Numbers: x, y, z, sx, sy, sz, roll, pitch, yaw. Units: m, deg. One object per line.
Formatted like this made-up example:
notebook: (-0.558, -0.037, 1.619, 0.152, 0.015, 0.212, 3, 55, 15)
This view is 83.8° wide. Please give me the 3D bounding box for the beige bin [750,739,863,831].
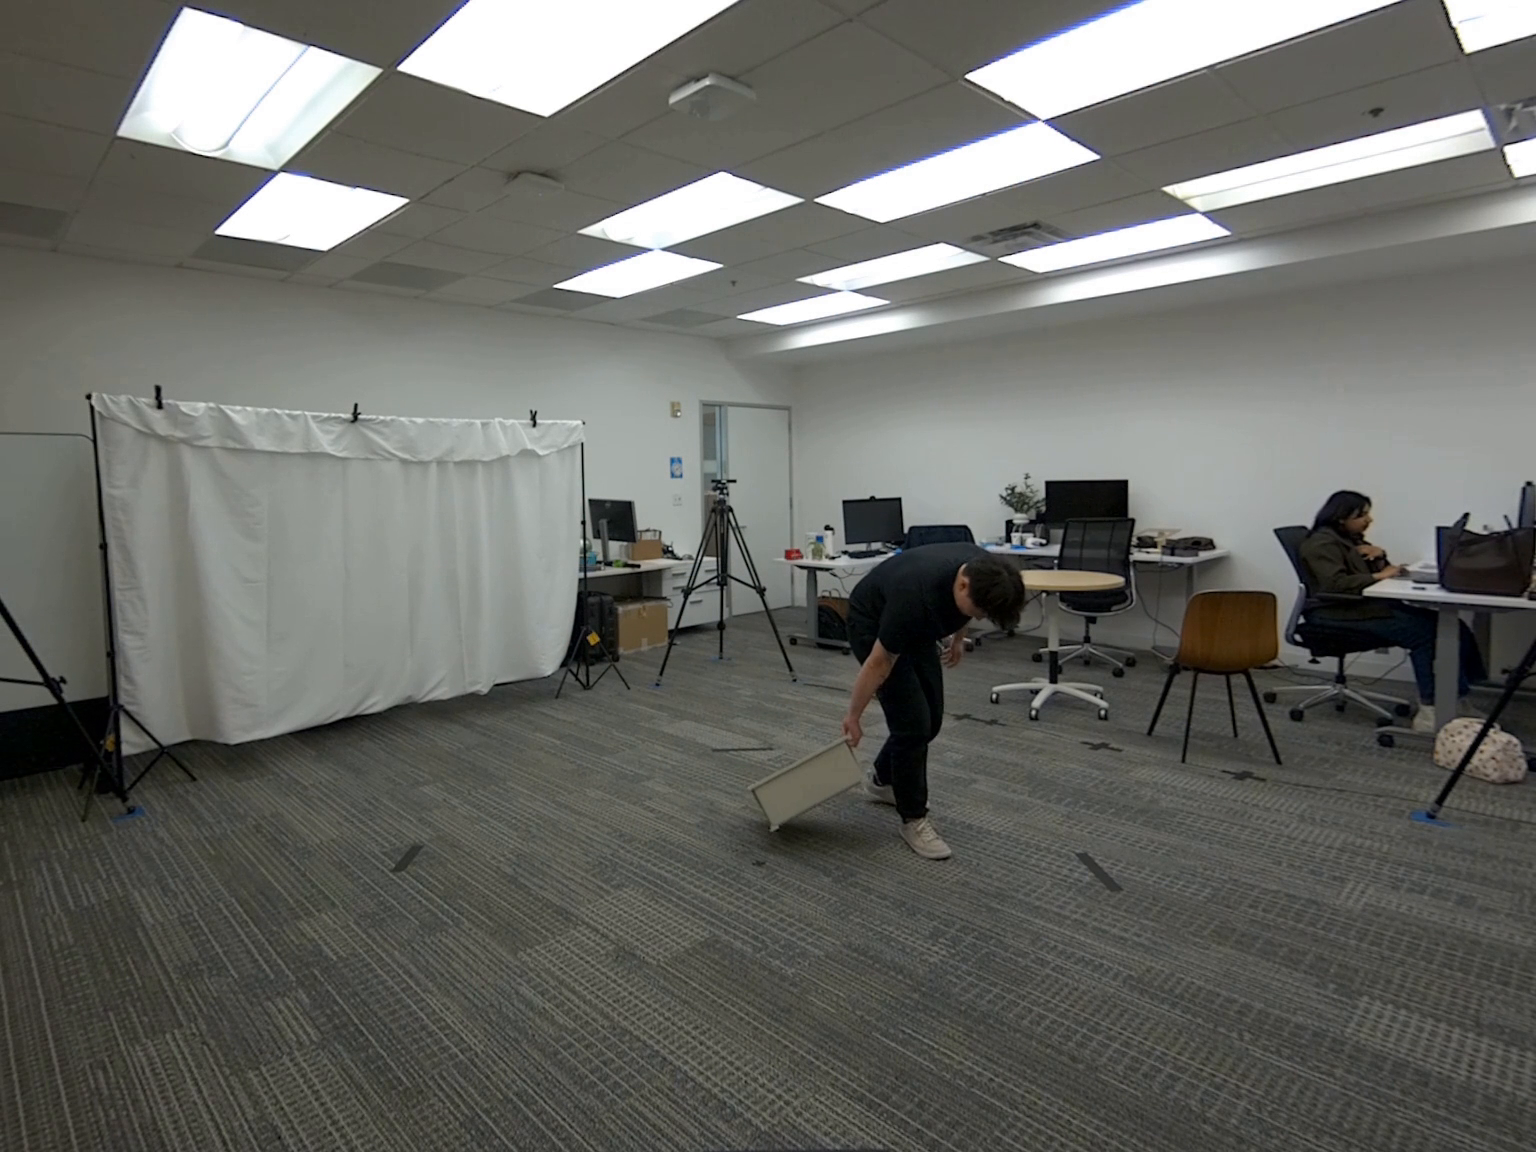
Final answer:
beige bin: (0.161, 0.809, 3.350, 0.422, 0.192, 0.372, -27, -10, -3)
